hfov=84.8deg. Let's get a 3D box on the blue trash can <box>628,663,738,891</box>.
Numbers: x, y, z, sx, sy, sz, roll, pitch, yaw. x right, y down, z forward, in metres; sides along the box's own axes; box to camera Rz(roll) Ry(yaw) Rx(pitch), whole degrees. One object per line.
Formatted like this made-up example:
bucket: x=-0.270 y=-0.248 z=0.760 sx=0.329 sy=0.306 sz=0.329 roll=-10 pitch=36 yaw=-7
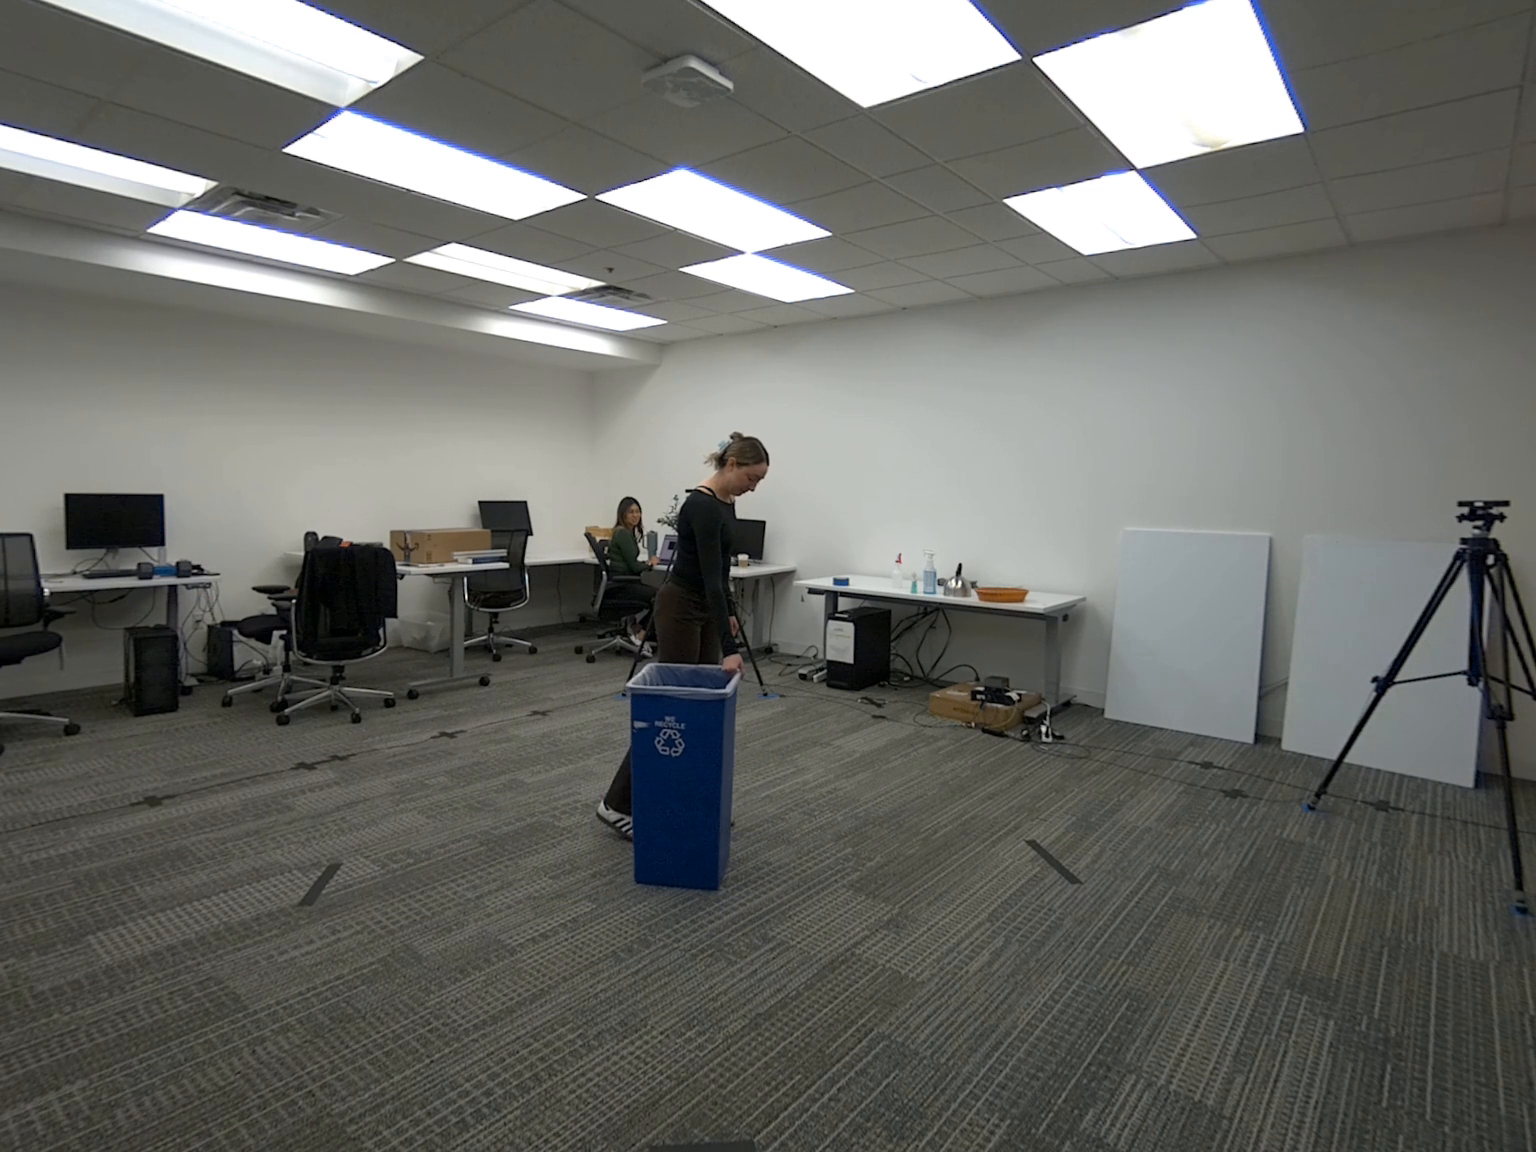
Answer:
blue trash can: x=-0.306 y=0.710 z=3.095 sx=0.377 sy=0.711 sz=0.376 roll=1 pitch=5 yaw=7
